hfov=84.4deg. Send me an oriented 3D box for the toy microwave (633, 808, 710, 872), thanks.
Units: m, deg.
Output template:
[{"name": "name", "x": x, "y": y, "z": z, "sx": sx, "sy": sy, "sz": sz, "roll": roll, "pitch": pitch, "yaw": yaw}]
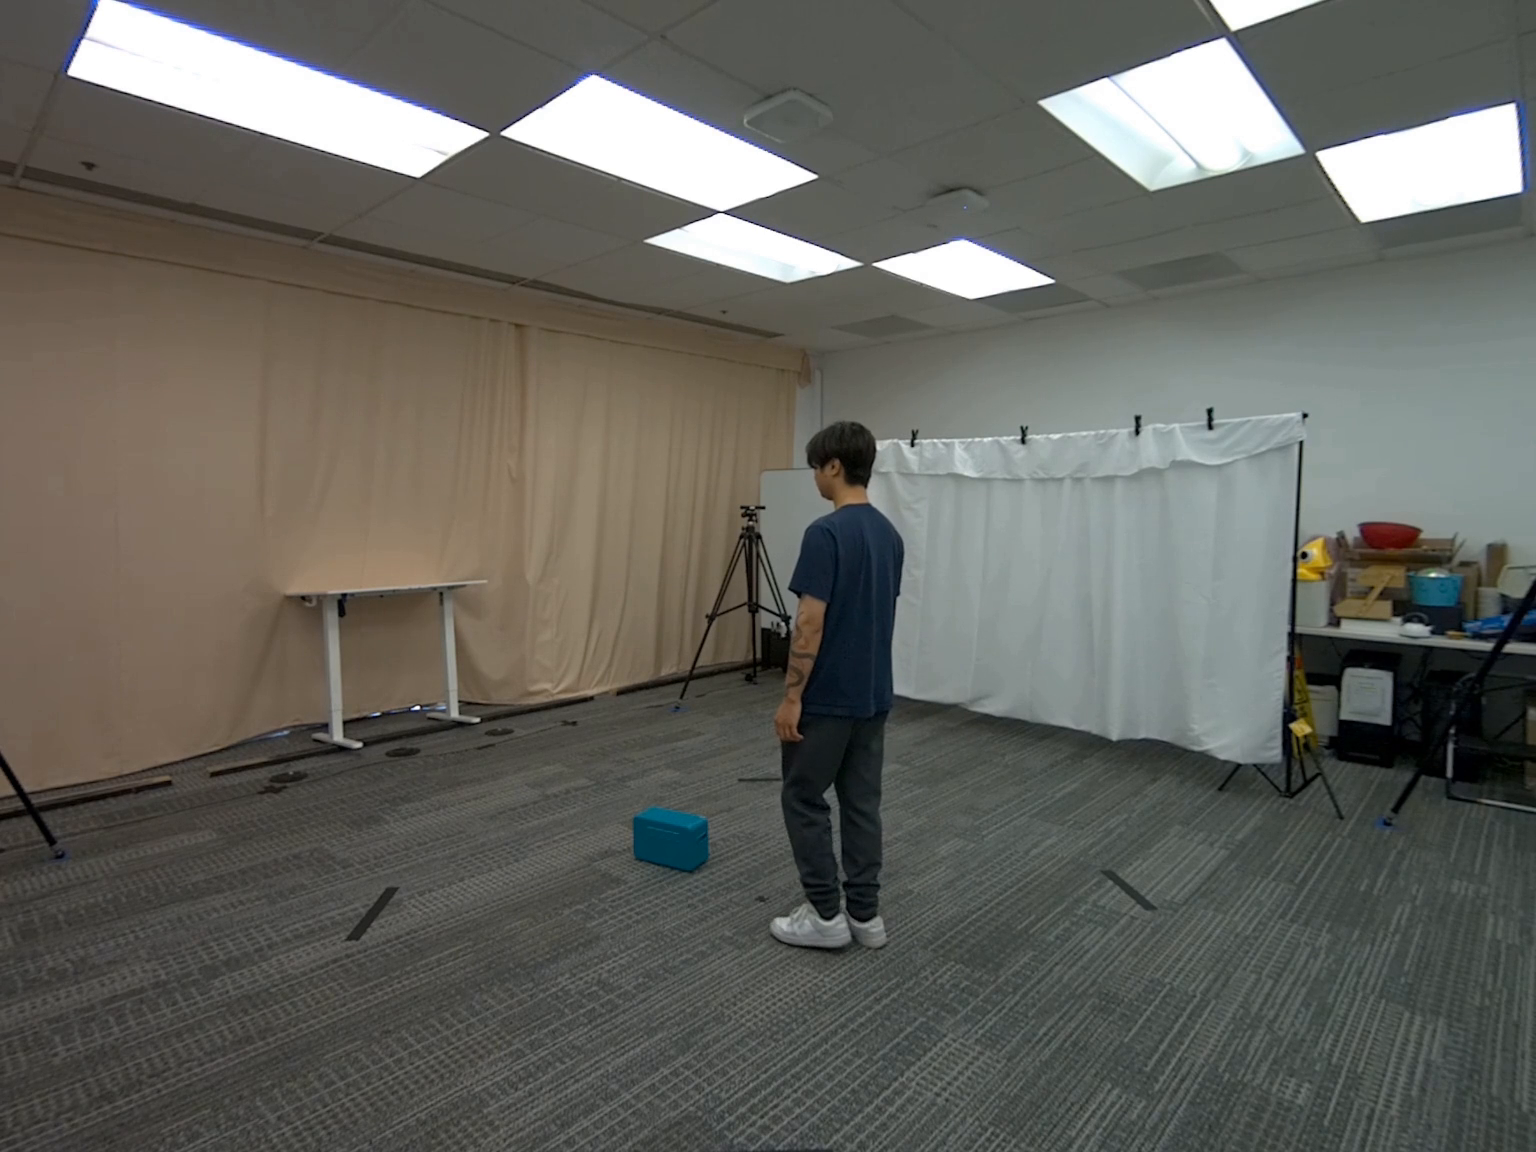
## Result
[{"name": "toy microwave", "x": -0.374, "y": 1.027, "z": 3.308, "sx": 0.294, "sy": 0.184, "sz": 0.148, "roll": 1, "pitch": 4, "yaw": 29}]
